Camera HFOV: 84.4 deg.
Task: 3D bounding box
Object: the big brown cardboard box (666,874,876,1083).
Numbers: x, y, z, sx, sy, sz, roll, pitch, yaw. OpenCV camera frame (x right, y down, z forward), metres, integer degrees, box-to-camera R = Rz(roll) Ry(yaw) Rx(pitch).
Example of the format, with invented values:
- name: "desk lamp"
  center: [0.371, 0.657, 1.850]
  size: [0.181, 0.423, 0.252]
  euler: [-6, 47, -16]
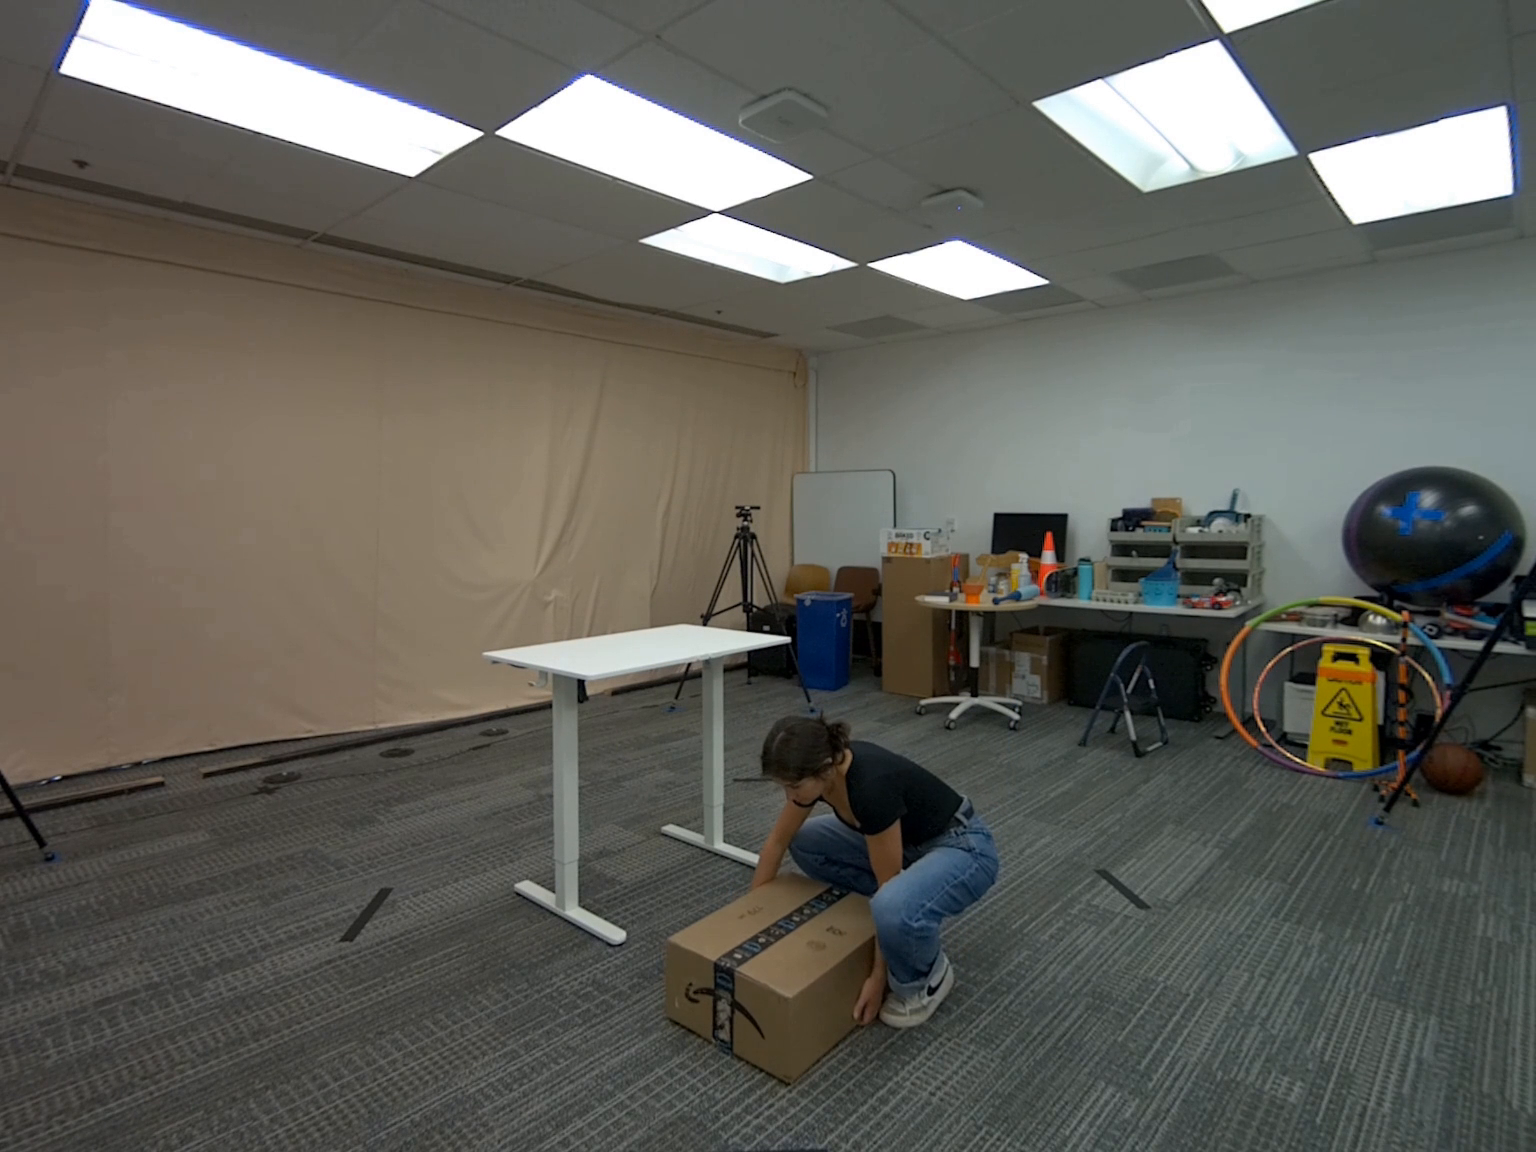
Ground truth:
- name: "big brown cardboard box"
  center: [0.062, 1.086, 2.347]
  size: [0.431, 0.232, 0.571]
  euler: [4, 7, 40]
